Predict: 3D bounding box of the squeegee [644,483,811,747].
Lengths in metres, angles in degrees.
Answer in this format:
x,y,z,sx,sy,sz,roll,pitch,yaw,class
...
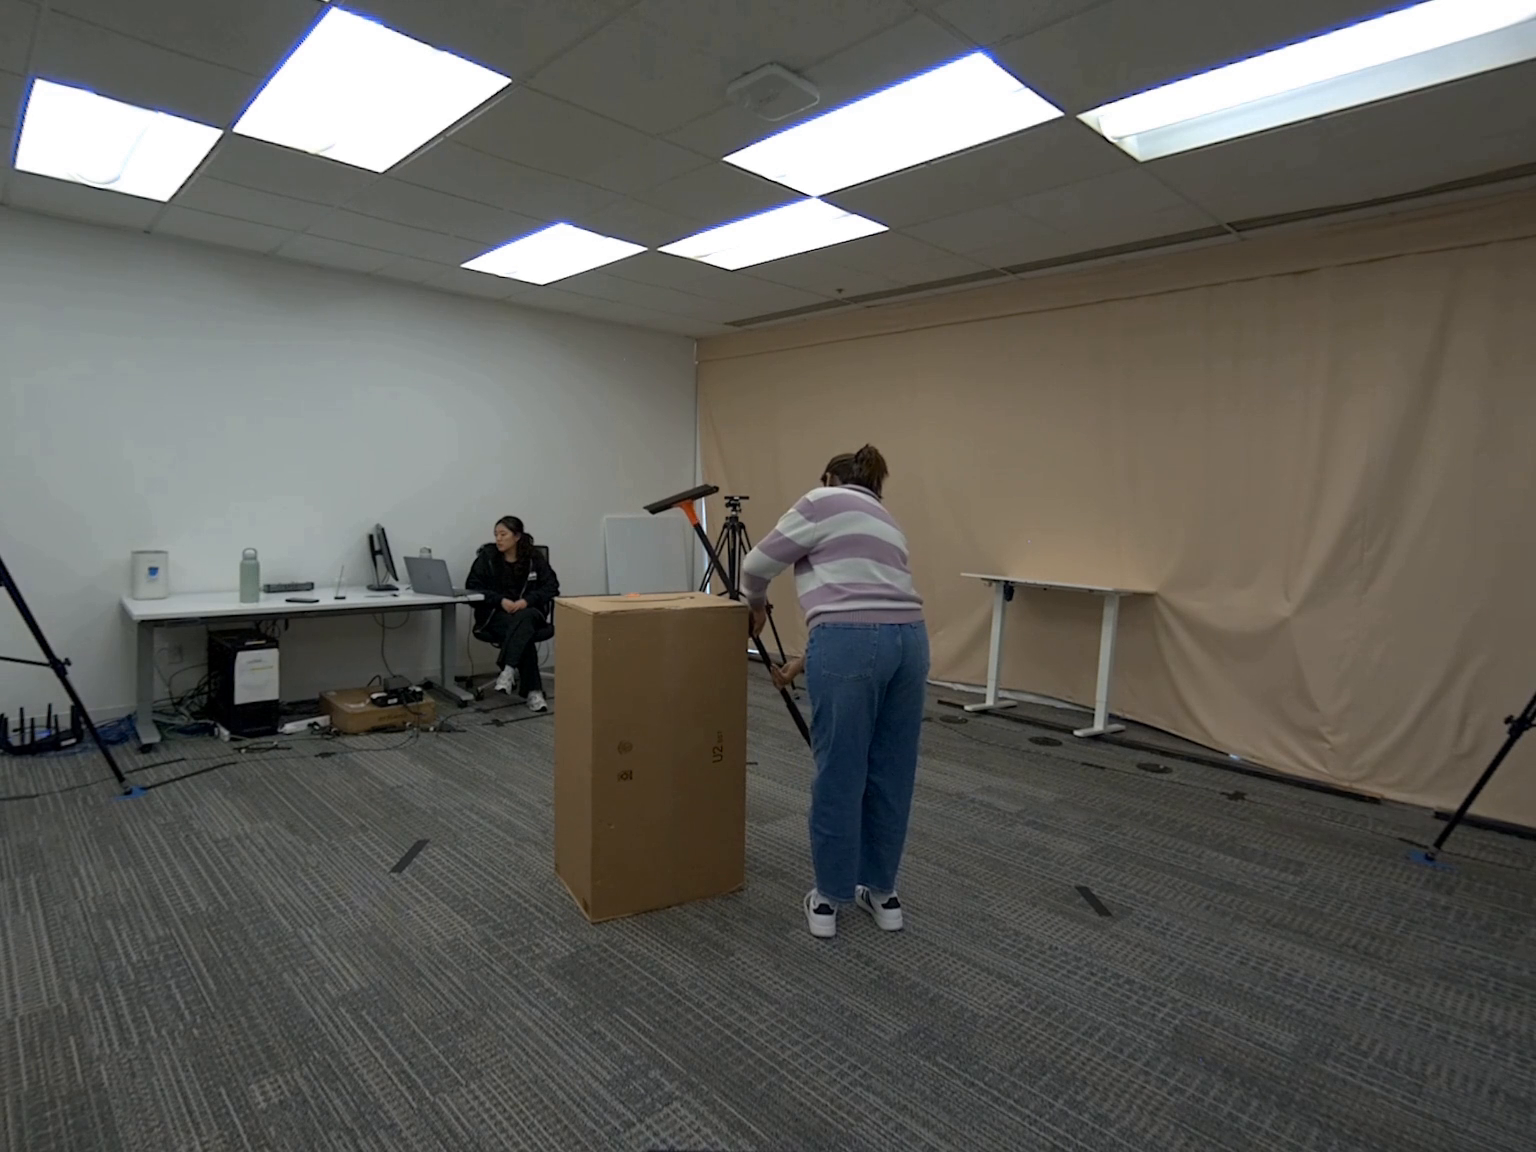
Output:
x,y,z,sx,sy,sz,roll,pitch,yaw,class
0.033,0.368,3.115,0.052,1.519,0.445,-37,14,-37,squeegee
